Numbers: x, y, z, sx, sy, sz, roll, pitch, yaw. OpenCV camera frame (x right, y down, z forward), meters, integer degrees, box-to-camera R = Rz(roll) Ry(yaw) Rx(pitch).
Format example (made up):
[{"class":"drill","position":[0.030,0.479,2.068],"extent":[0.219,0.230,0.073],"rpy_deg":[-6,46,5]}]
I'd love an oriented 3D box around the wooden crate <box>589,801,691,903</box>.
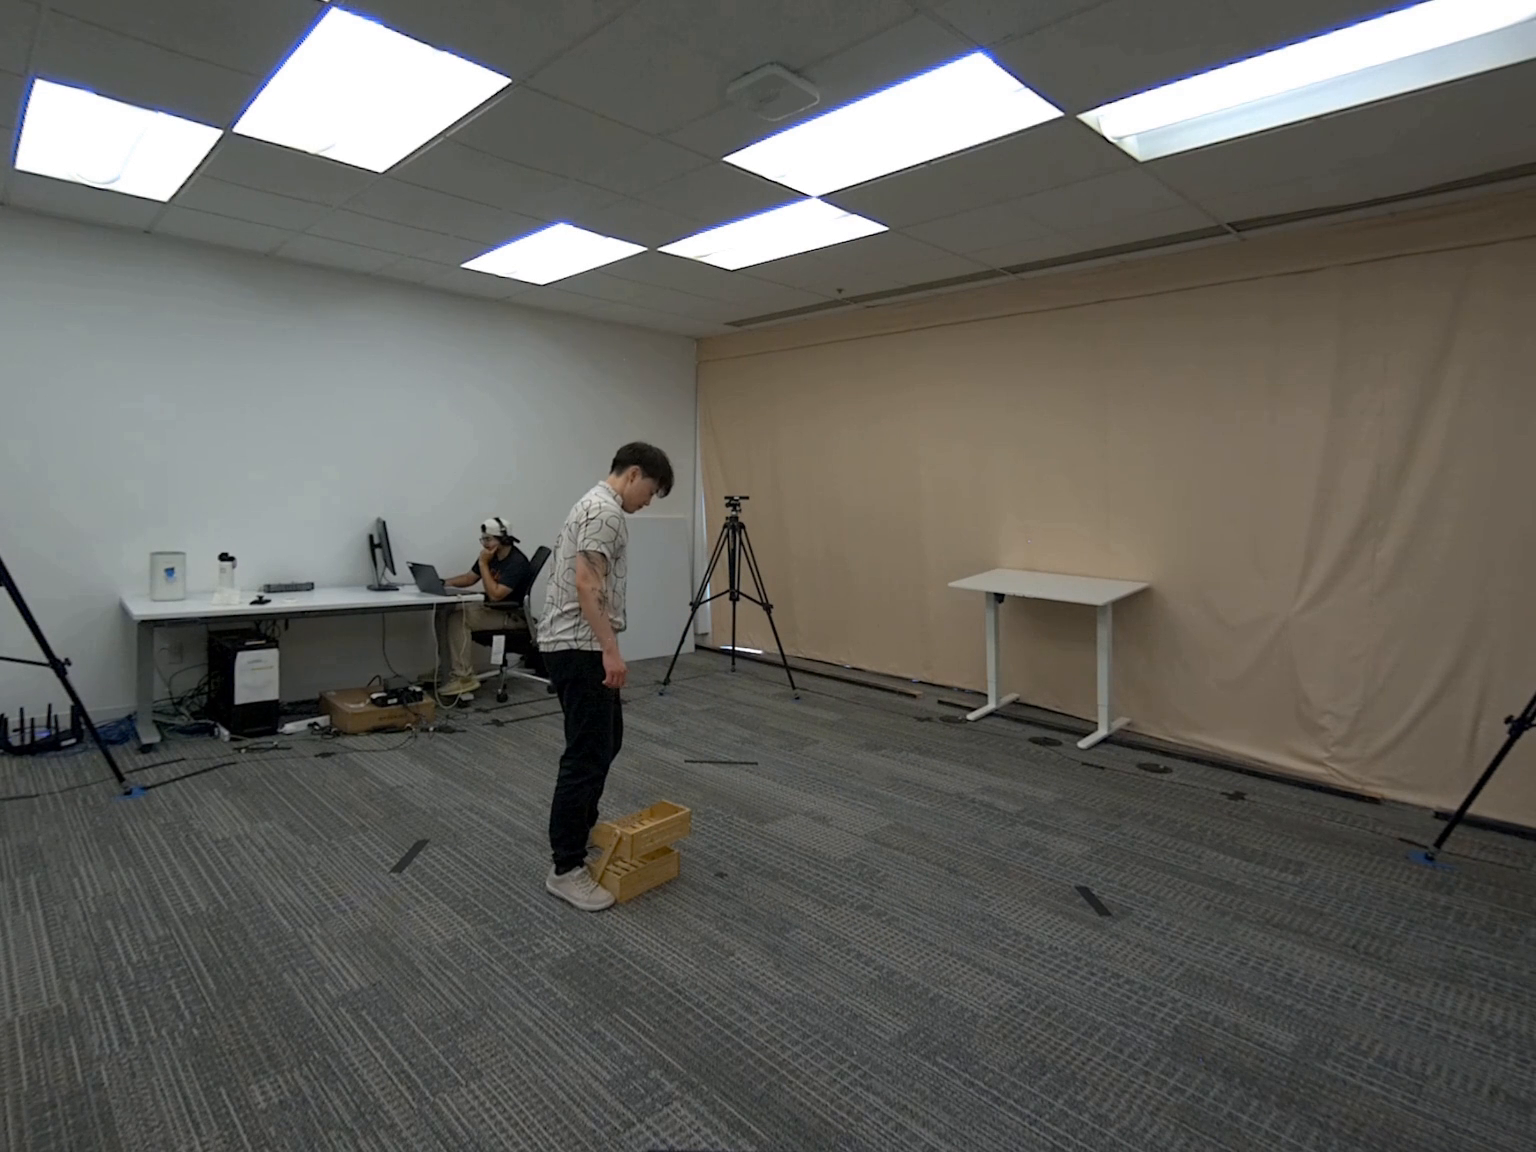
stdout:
[{"class":"wooden crate","position":[-0.496,0.967,3.035],"extent":[0.310,0.272,0.317],"rpy_deg":[6,6,39]}]
